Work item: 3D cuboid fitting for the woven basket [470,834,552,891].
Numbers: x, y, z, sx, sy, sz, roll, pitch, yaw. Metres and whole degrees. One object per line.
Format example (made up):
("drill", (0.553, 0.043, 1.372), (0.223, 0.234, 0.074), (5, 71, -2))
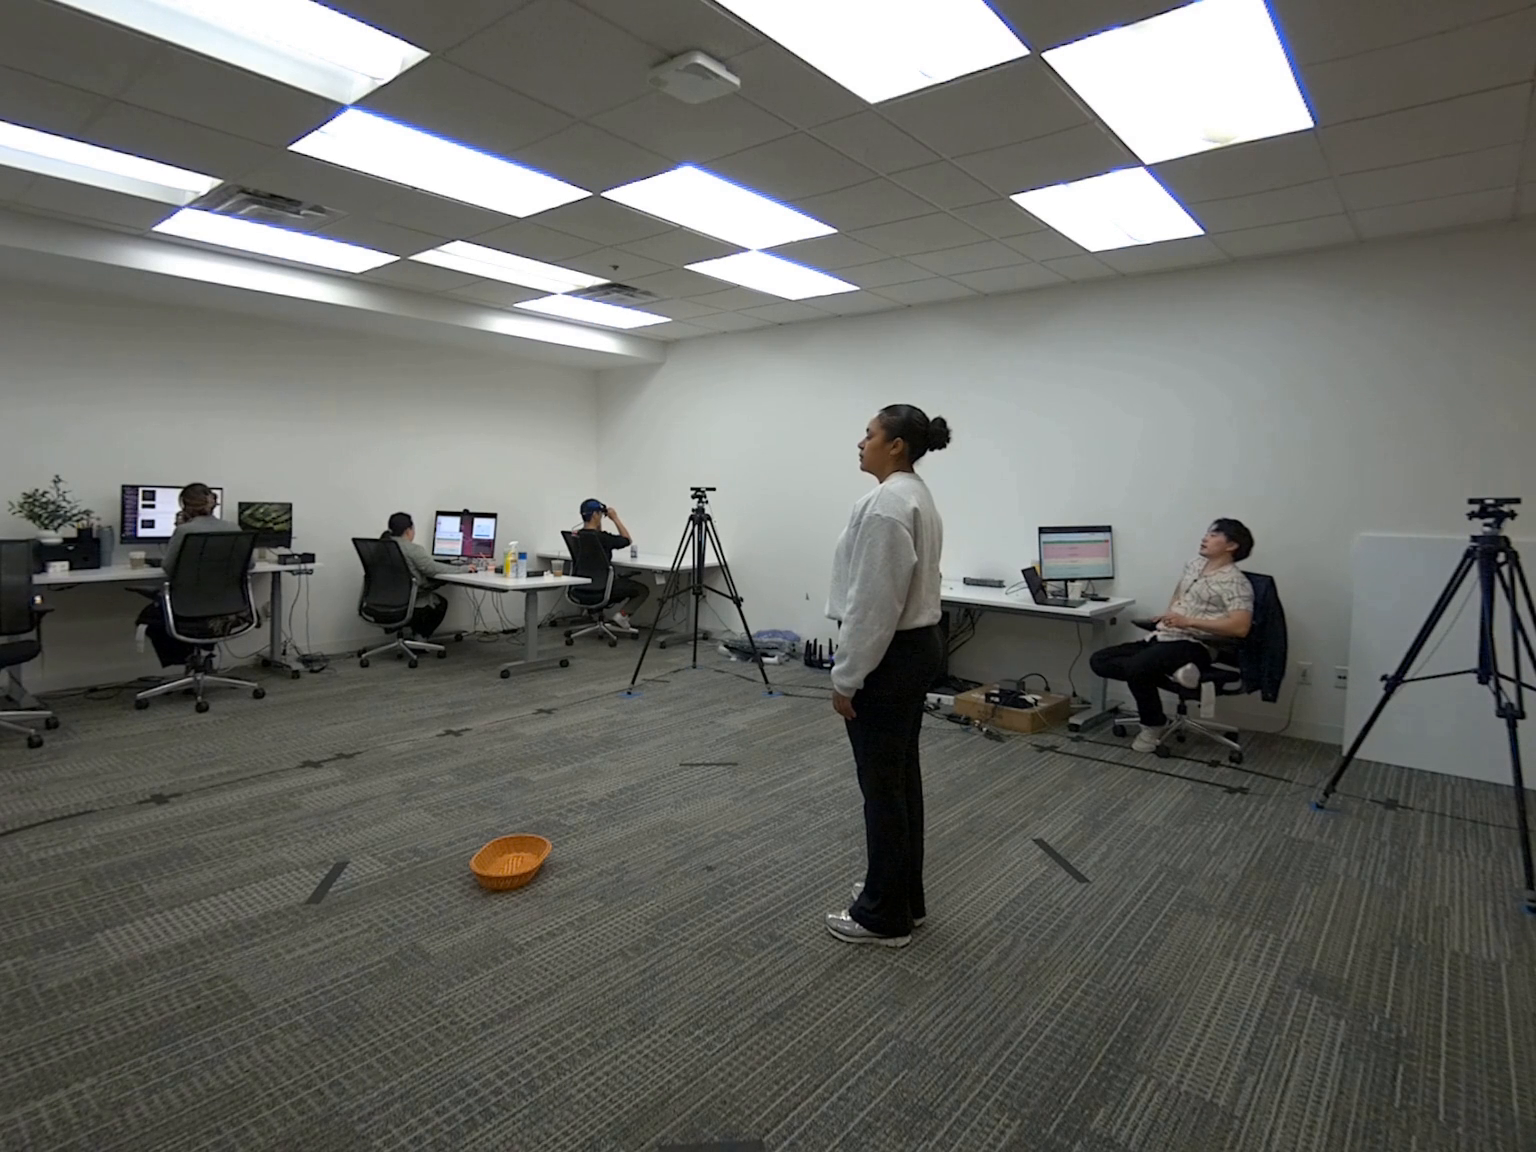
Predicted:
("woven basket", (-0.929, 1.022, 3.042), (0.255, 0.073, 0.348), (2, 5, 8))
